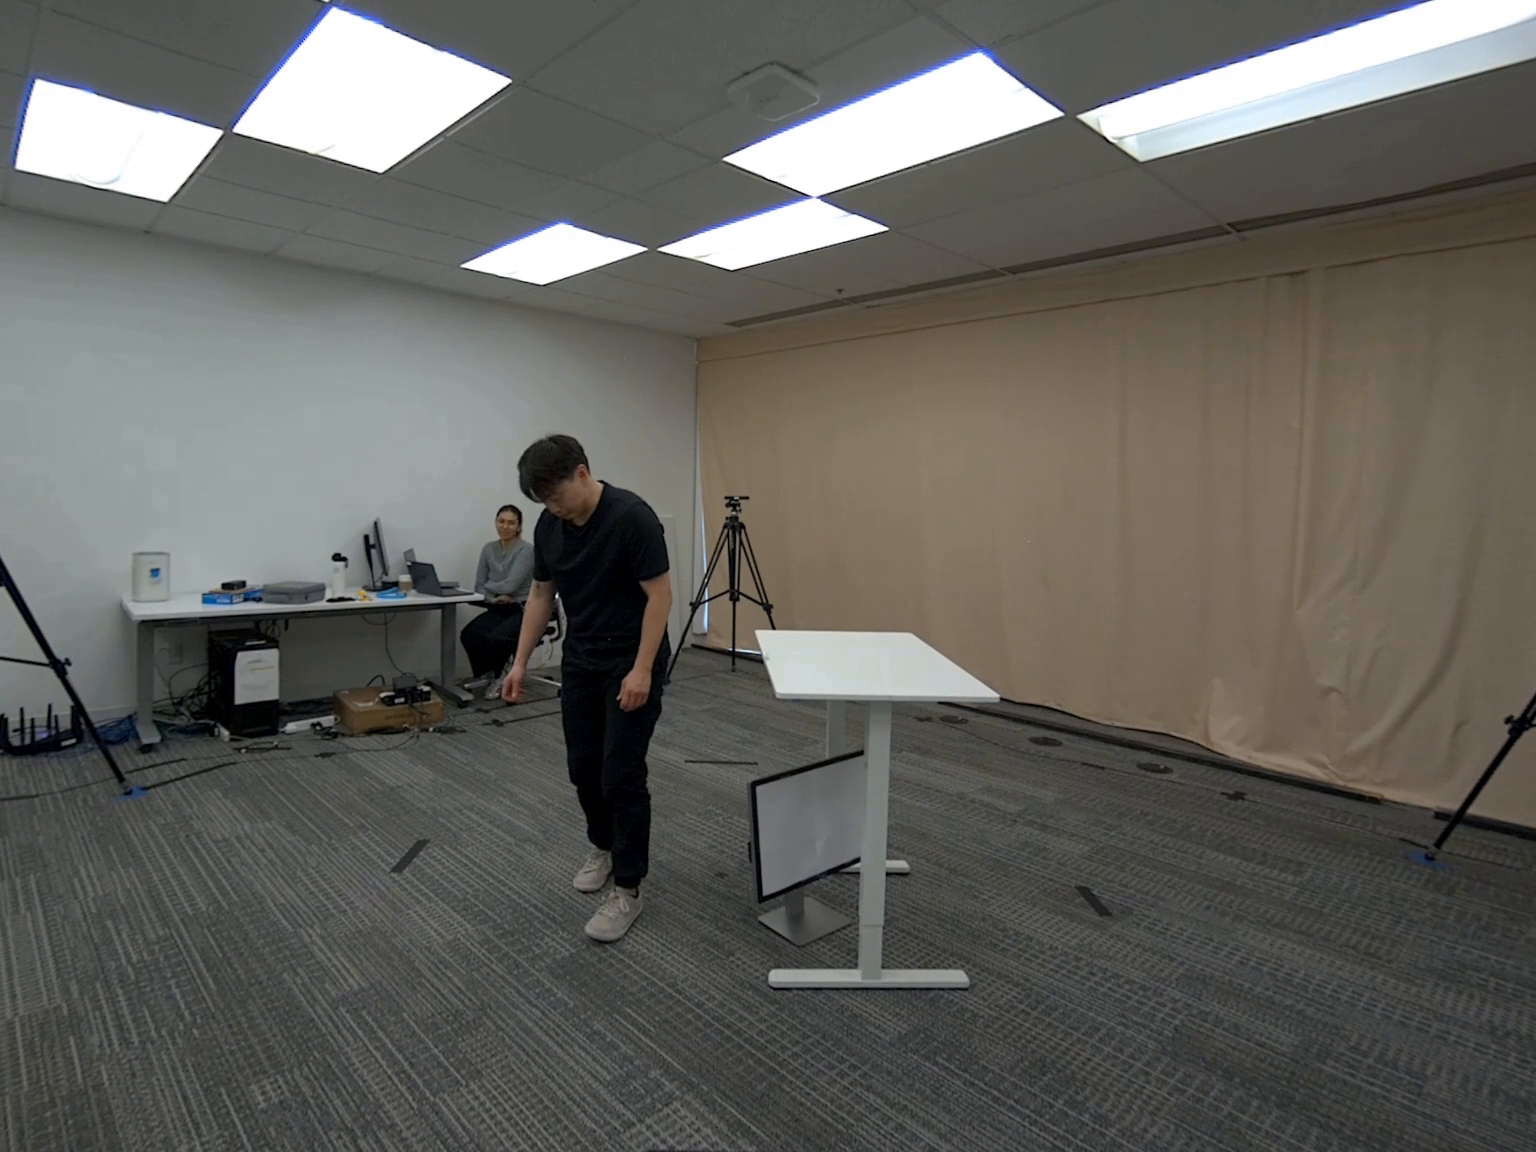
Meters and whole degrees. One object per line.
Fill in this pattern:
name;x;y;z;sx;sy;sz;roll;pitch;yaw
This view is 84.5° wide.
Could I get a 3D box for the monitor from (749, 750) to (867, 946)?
monitor;0.120;0.879;2.743;0.527;0.519;0.192;-5;11;-43
